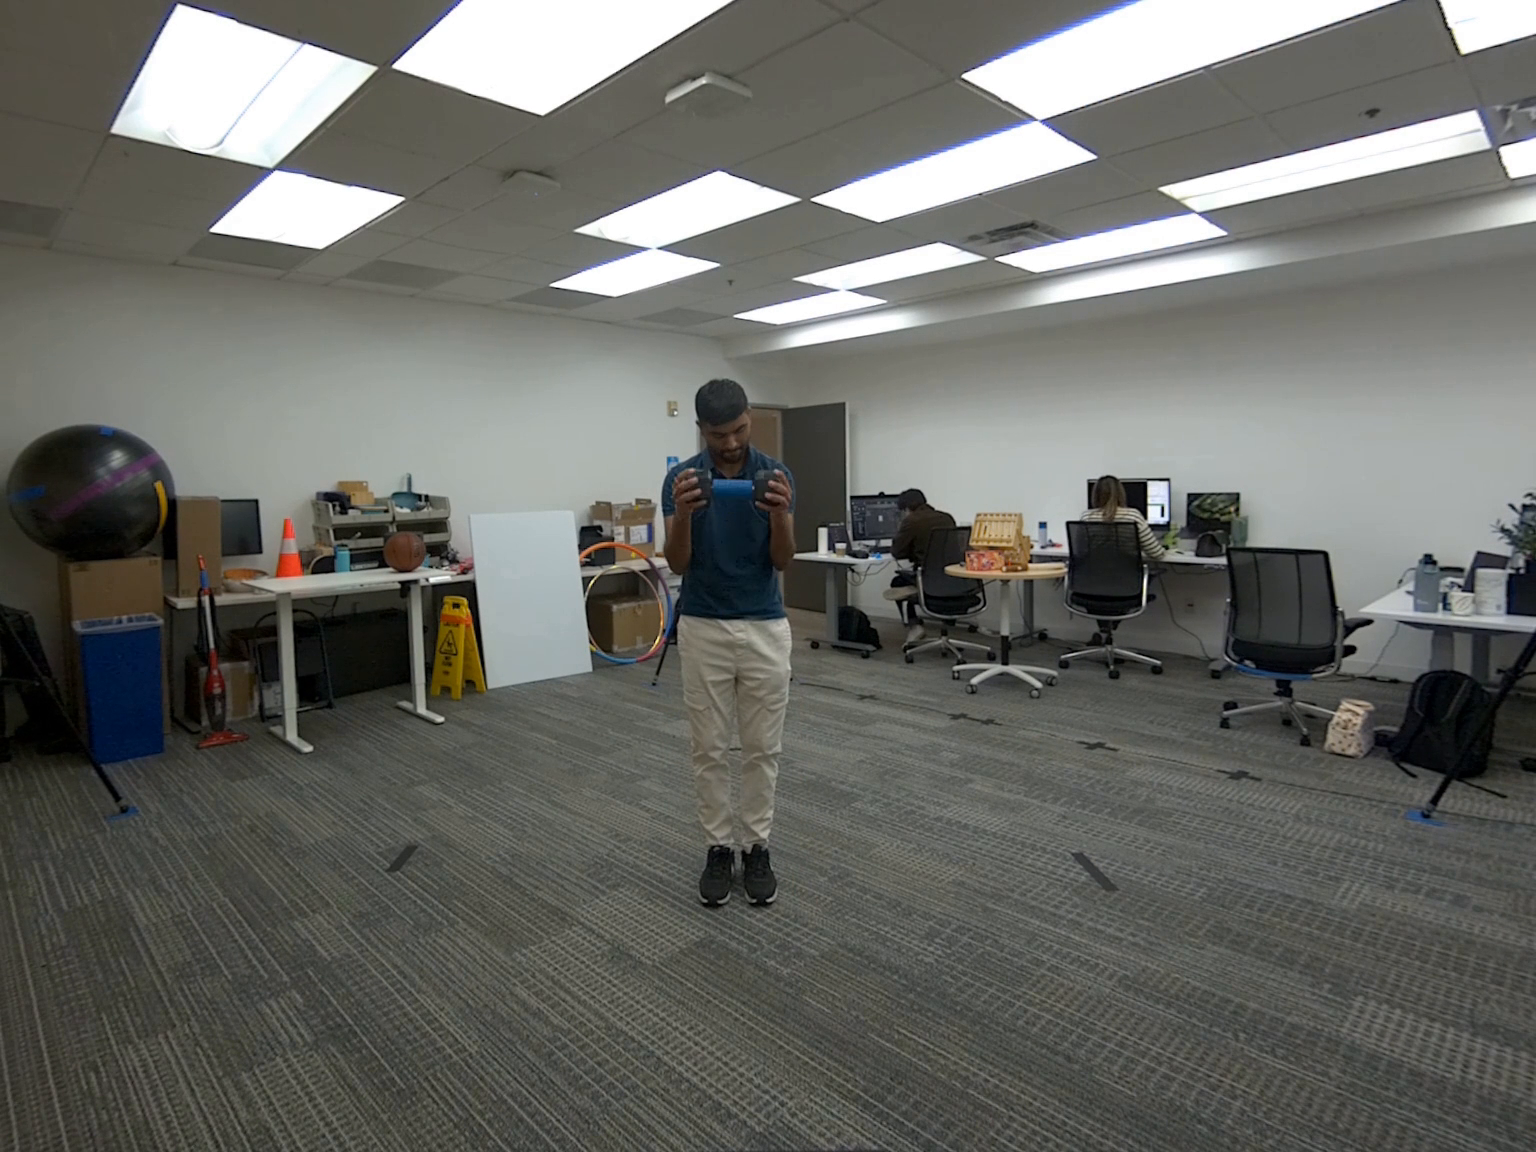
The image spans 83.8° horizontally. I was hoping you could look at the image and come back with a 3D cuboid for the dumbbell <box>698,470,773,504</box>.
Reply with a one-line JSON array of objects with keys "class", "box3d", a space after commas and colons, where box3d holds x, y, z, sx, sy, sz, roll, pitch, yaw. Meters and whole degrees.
[{"class": "dumbbell", "box3d": [-0.128, -0.261, 2.699, 0.294, 0.106, 0.126, 1, 34, 2]}]
